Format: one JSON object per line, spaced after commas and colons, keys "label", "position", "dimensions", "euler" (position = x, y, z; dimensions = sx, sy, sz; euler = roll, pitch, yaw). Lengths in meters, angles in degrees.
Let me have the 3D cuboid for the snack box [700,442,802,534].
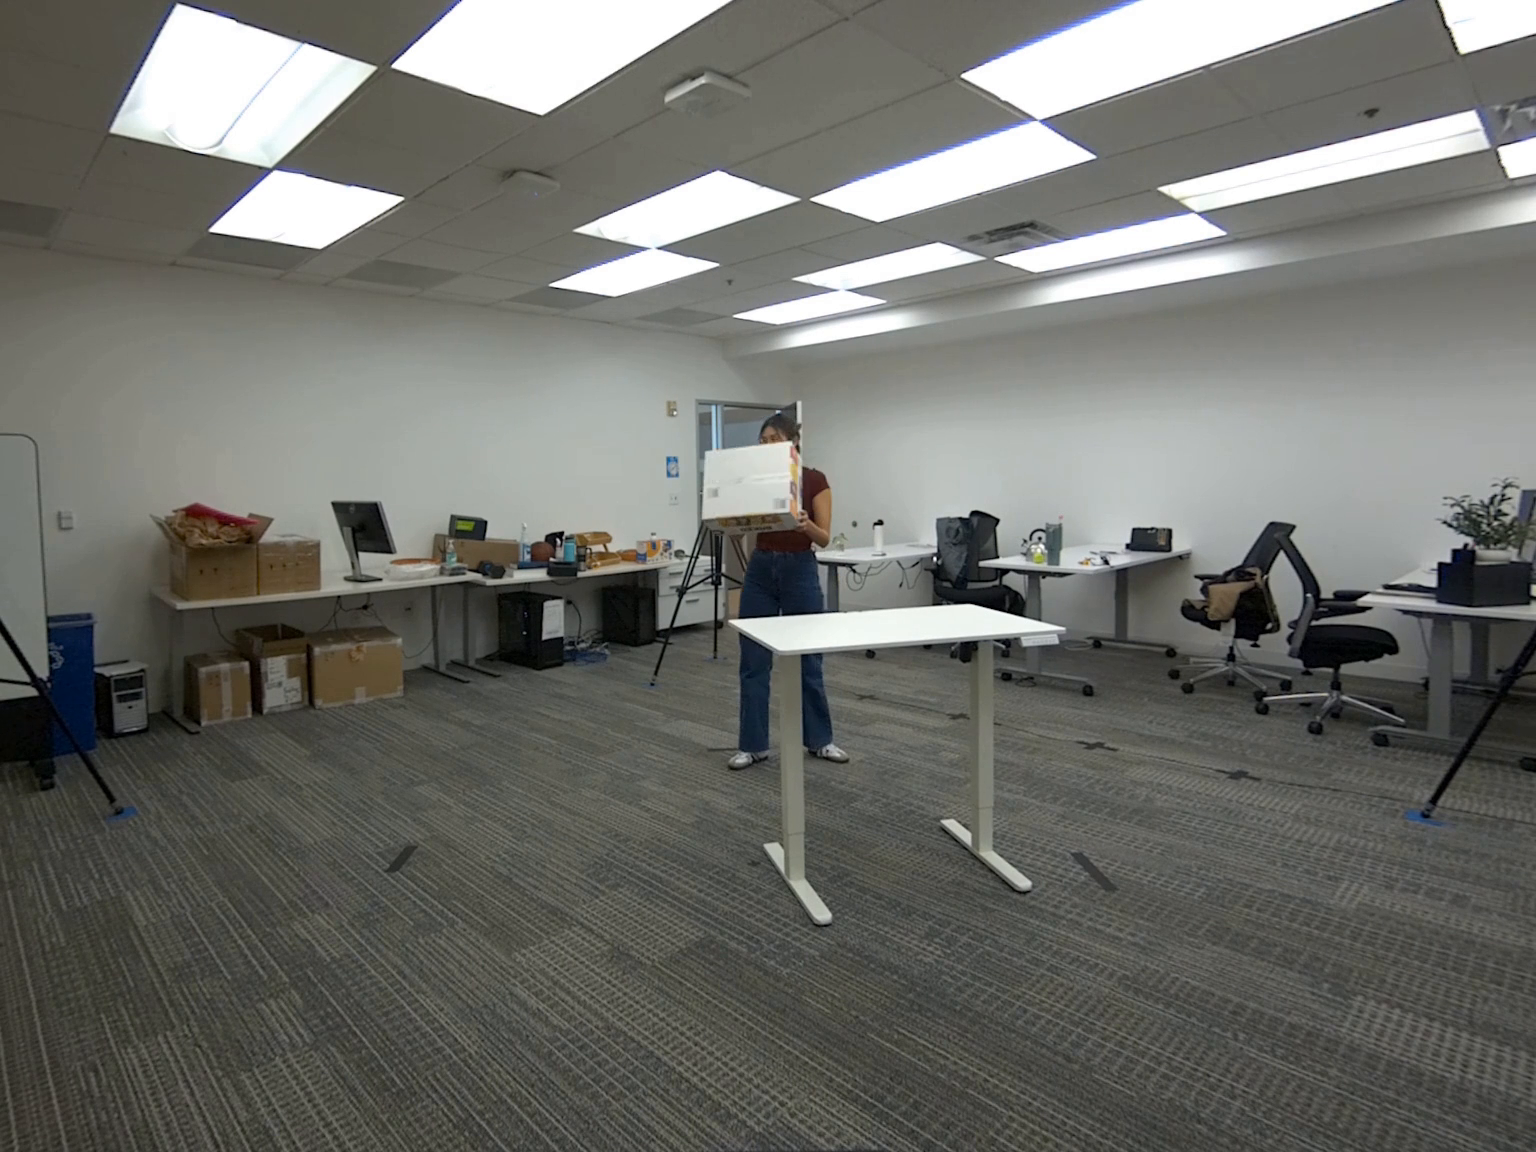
{"label": "snack box", "position": [-0.070, -0.388, 3.820], "dimensions": [0.412, 0.346, 0.199], "euler": [-4, -21, 18]}
